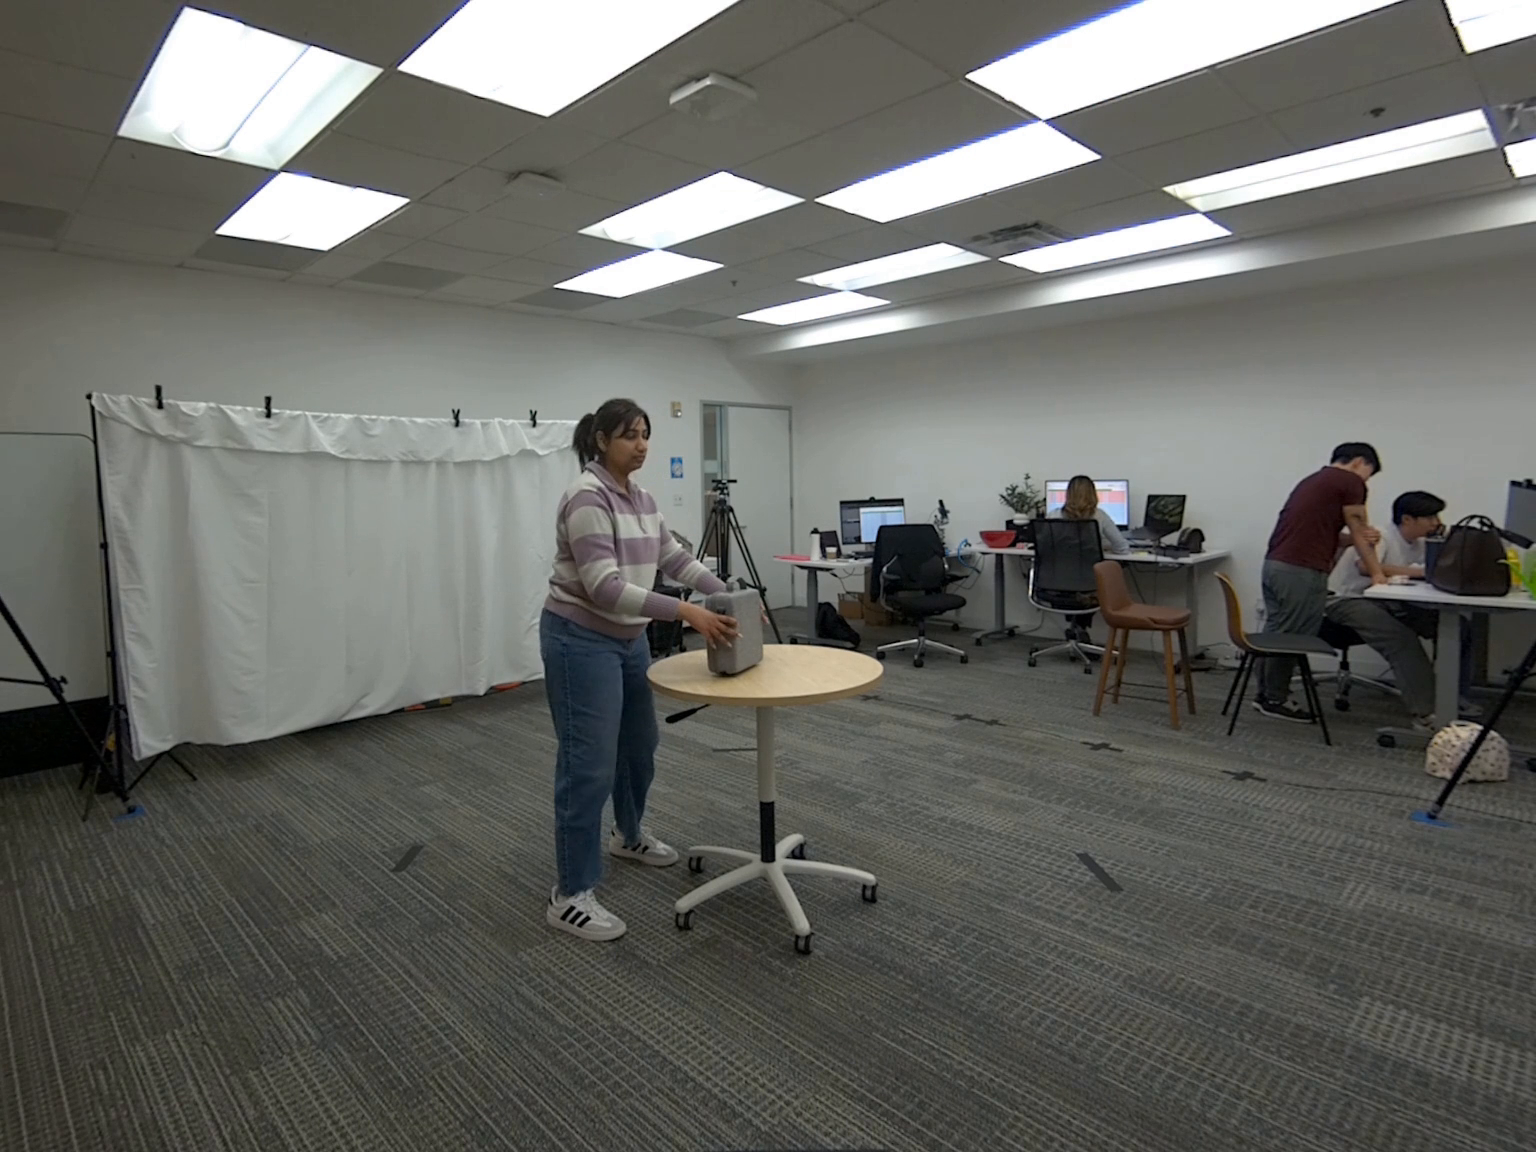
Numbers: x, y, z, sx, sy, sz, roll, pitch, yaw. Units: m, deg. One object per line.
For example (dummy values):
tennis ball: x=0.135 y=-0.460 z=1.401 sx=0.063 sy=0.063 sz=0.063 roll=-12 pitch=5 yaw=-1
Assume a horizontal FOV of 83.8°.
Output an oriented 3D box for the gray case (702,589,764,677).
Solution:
gray case: x=-0.105 y=0.171 z=2.755 sx=0.106 sy=0.260 sz=0.252 roll=-2 pitch=2 yaw=23
